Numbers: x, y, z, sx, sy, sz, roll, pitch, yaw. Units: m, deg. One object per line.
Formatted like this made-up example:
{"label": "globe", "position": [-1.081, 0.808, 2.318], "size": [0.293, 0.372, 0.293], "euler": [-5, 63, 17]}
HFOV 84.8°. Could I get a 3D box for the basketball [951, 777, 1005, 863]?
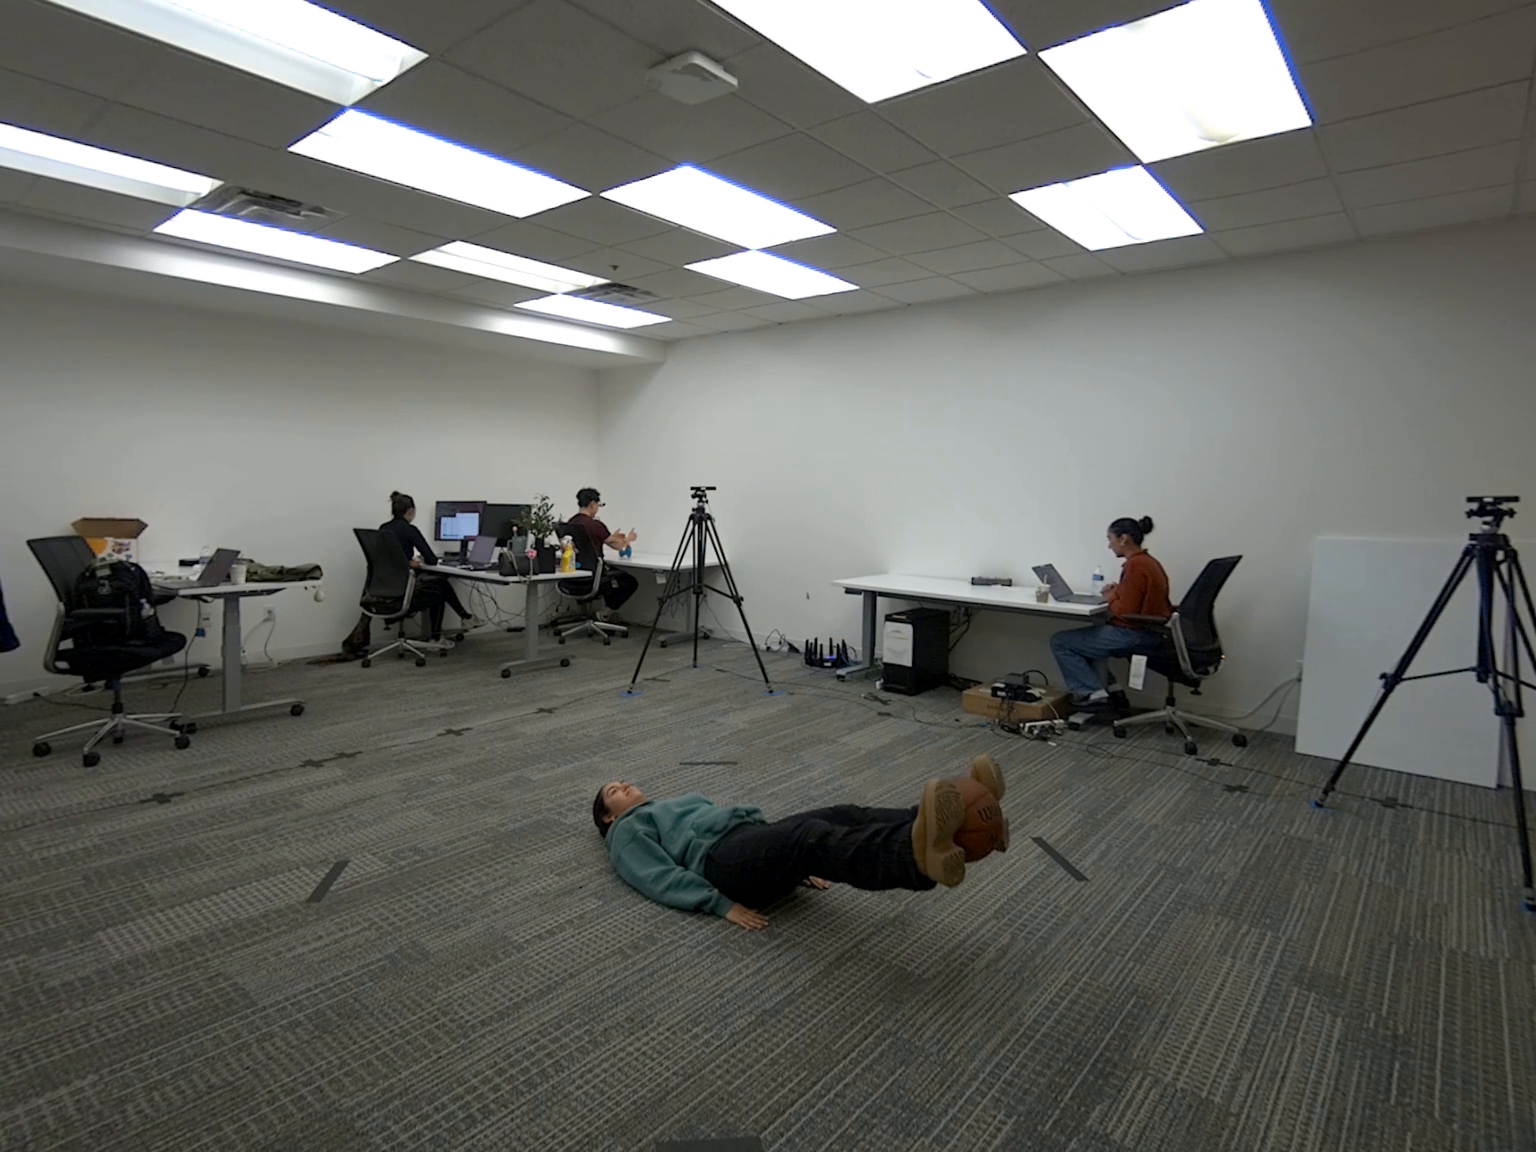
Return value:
{"label": "basketball", "position": [0.548, 0.695, 2.448], "size": [0.236, 0.235, 0.237], "euler": [0, 4, -2]}
